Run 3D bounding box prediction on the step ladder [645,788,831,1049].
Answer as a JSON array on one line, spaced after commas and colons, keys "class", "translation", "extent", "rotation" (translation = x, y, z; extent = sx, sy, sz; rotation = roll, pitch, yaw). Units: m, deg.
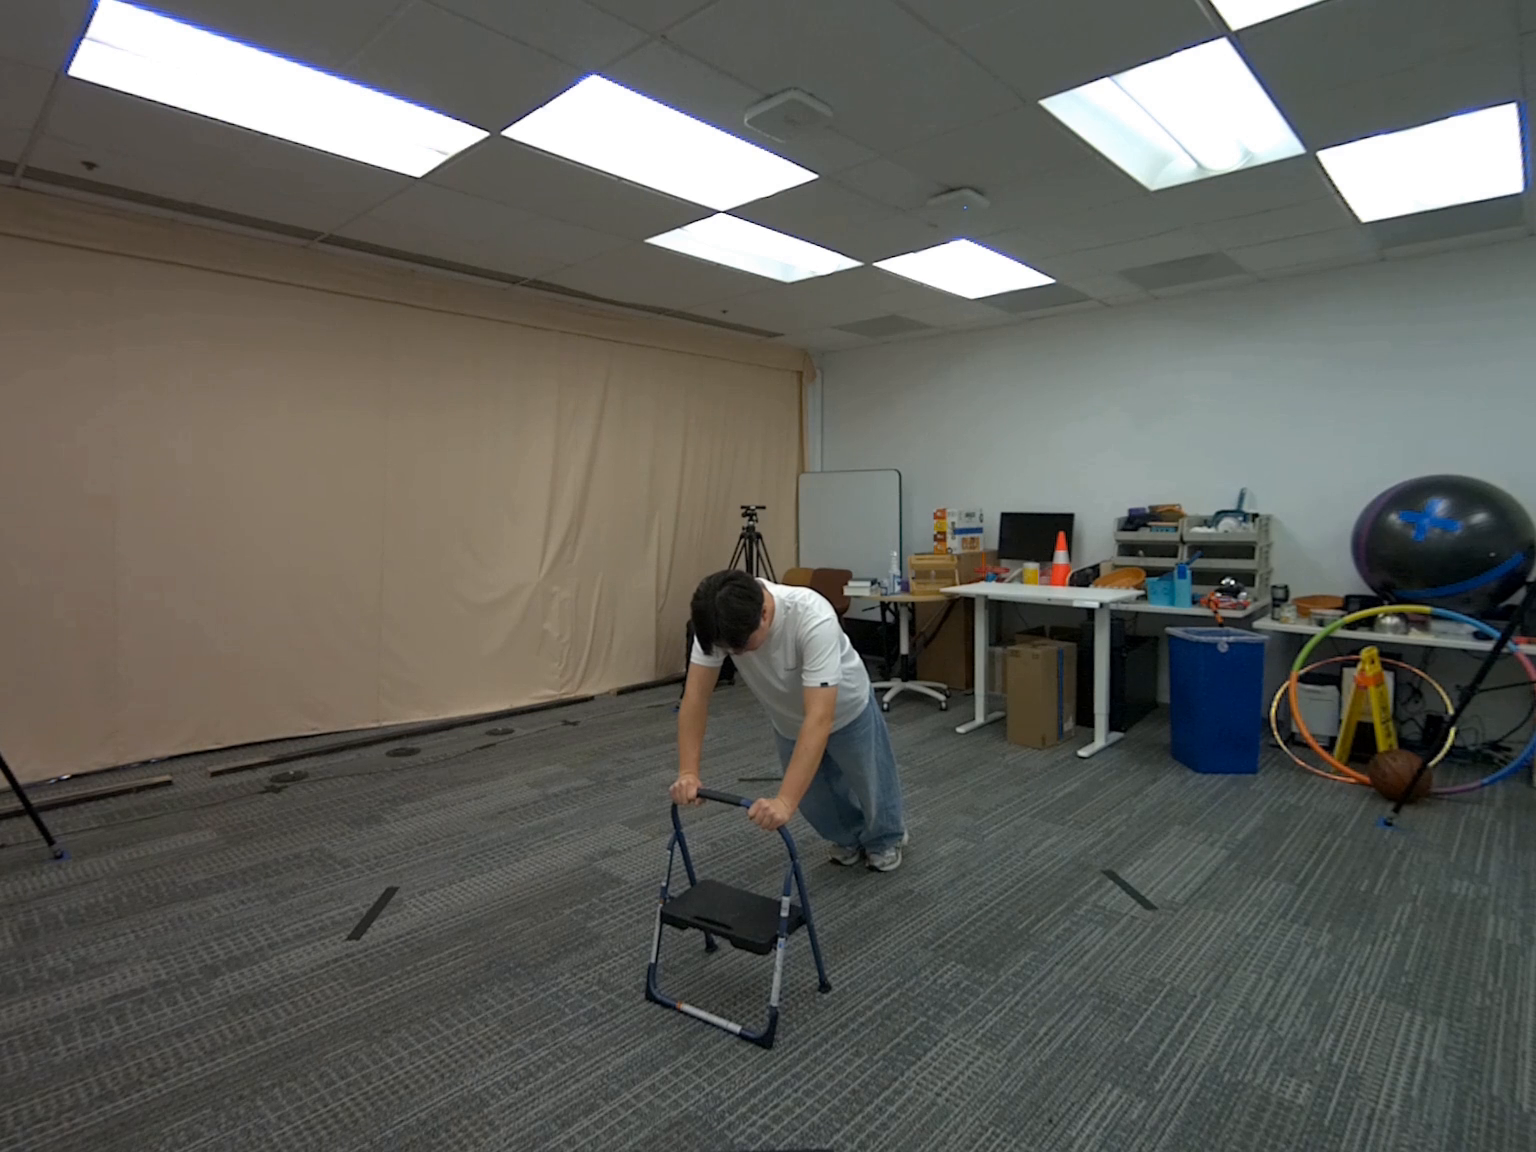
[{"class": "step ladder", "translation": [-0.089, 0.891, 2.384], "extent": [0.443, 0.604, 0.340], "rotation": [2, 5, 32]}]
